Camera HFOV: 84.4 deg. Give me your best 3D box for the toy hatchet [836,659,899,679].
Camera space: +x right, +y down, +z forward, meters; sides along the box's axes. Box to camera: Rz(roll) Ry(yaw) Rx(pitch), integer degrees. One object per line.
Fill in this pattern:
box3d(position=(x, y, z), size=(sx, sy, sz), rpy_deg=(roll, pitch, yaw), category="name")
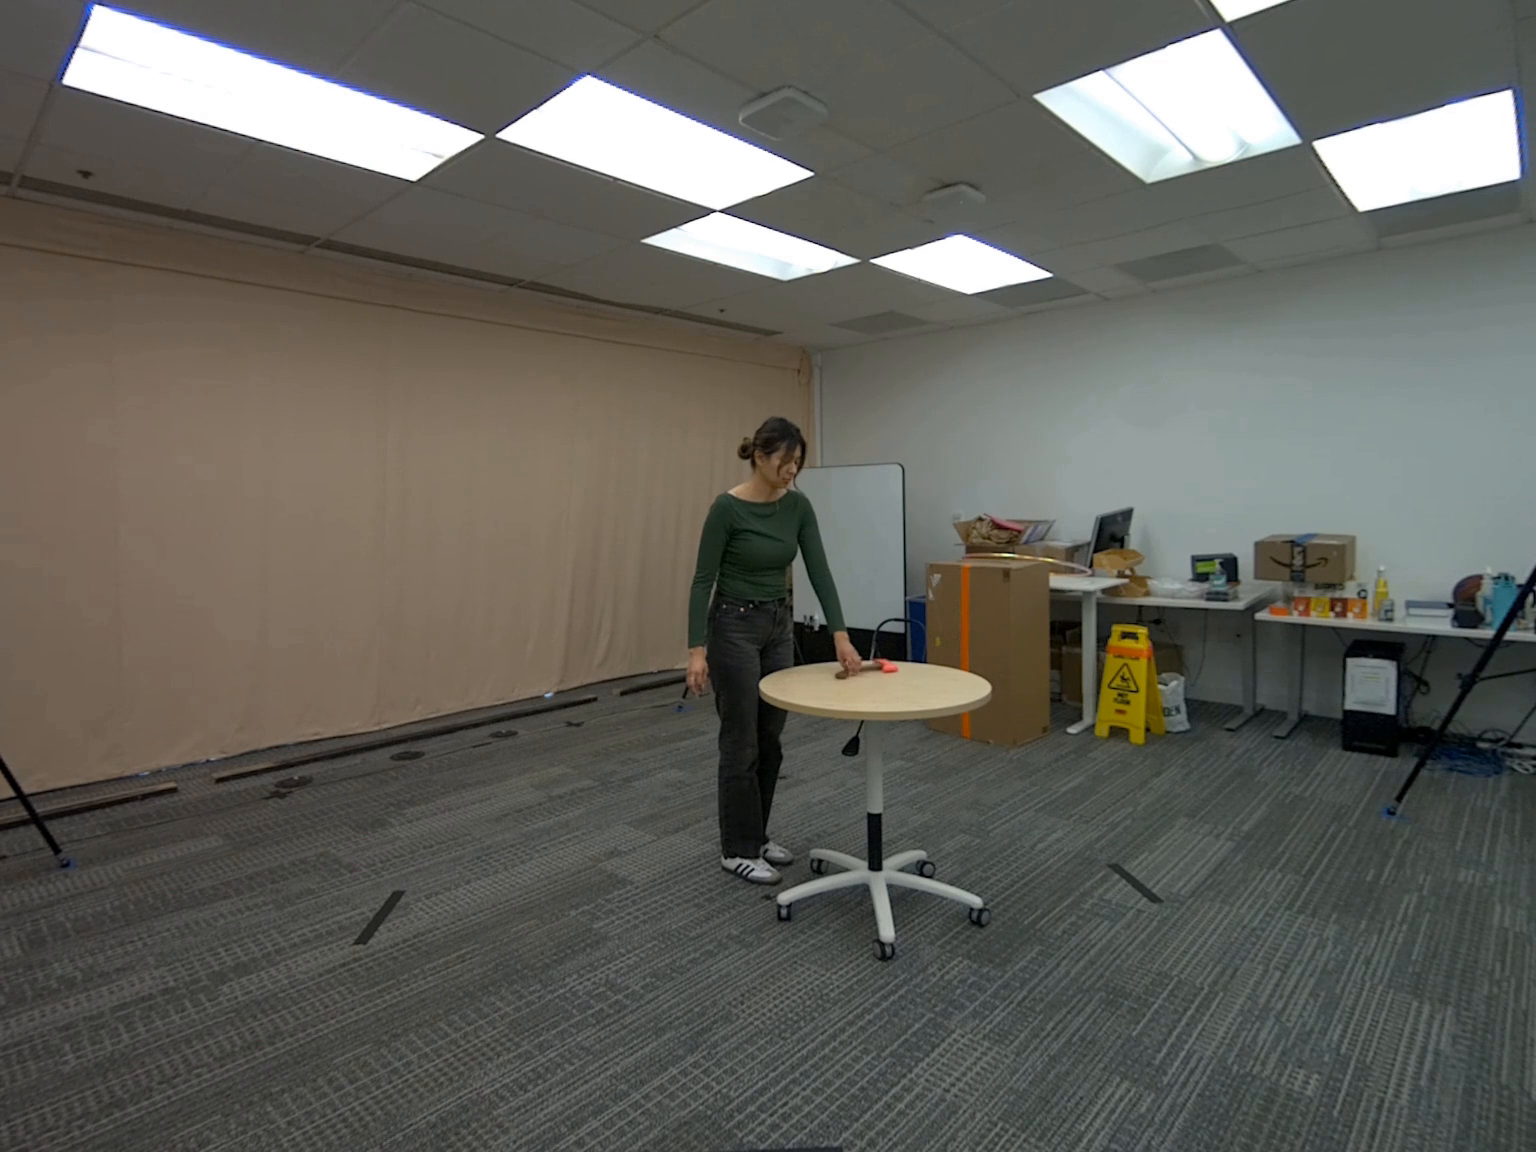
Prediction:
box3d(position=(0.362, 0.341, 2.975), size=(0.135, 0.029, 0.262), rpy_deg=(10, 14, 38), category="toy hatchet")
